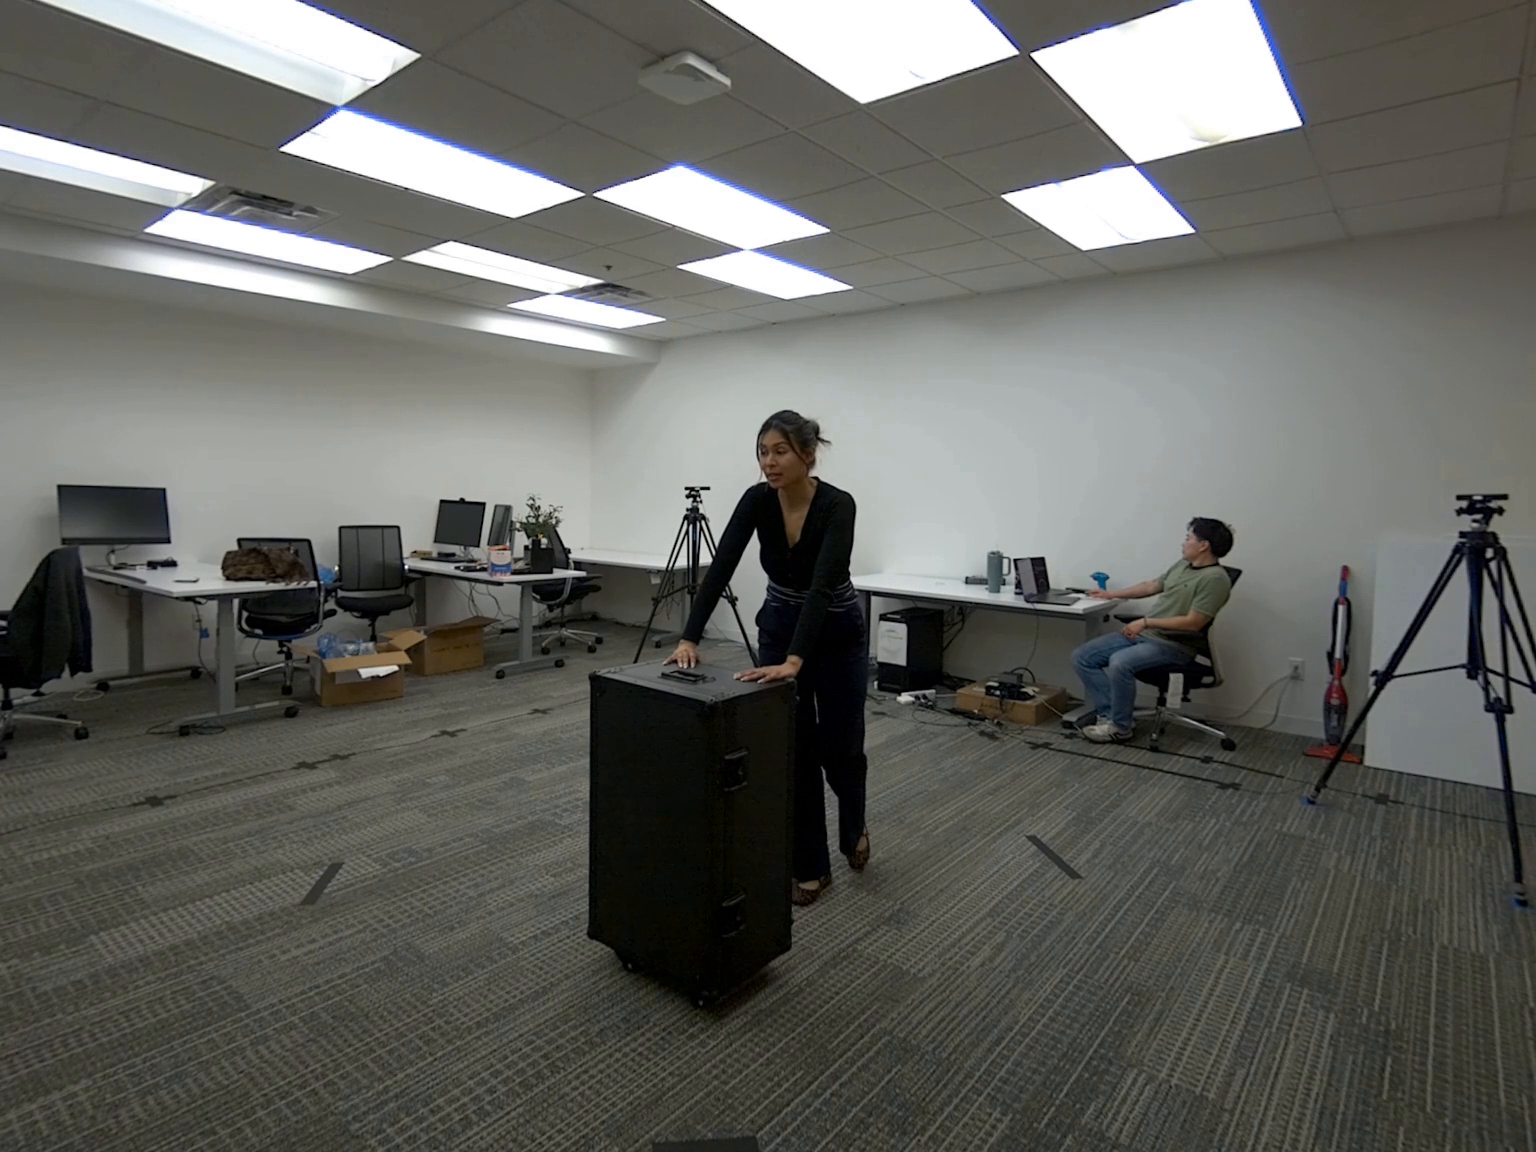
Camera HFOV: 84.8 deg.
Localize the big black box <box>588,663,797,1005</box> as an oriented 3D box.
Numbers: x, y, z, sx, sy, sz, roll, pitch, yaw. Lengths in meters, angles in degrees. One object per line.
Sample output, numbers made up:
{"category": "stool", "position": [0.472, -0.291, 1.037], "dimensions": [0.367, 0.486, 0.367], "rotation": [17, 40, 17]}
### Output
{"category": "big black box", "position": [-0.228, 0.704, 2.451], "dimensions": [0.538, 0.859, 0.384], "rotation": [4, 4, 39]}
